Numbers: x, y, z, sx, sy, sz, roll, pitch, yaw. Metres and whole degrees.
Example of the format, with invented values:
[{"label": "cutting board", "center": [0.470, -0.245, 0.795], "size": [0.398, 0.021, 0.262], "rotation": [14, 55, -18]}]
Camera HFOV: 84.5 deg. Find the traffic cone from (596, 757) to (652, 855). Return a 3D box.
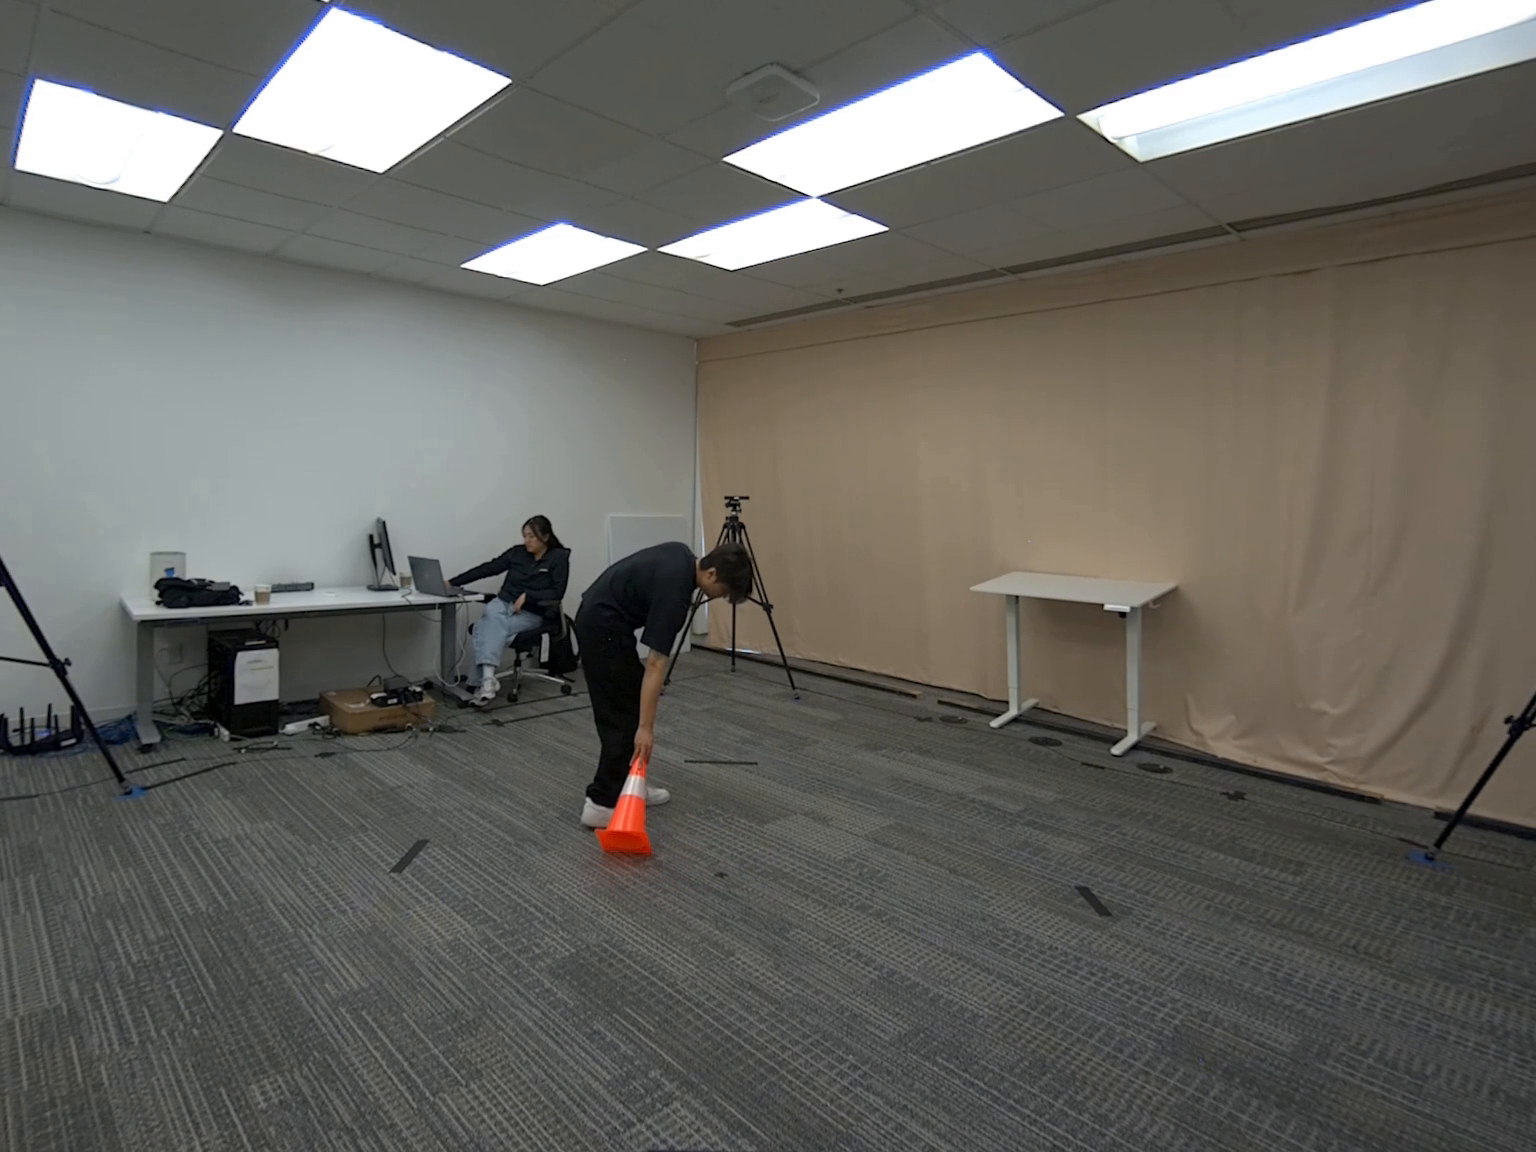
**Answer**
[{"label": "traffic cone", "center": [-0.547, 0.872, 3.332], "size": [0.204, 0.391, 0.200], "rotation": [-1, -40, 6]}]
